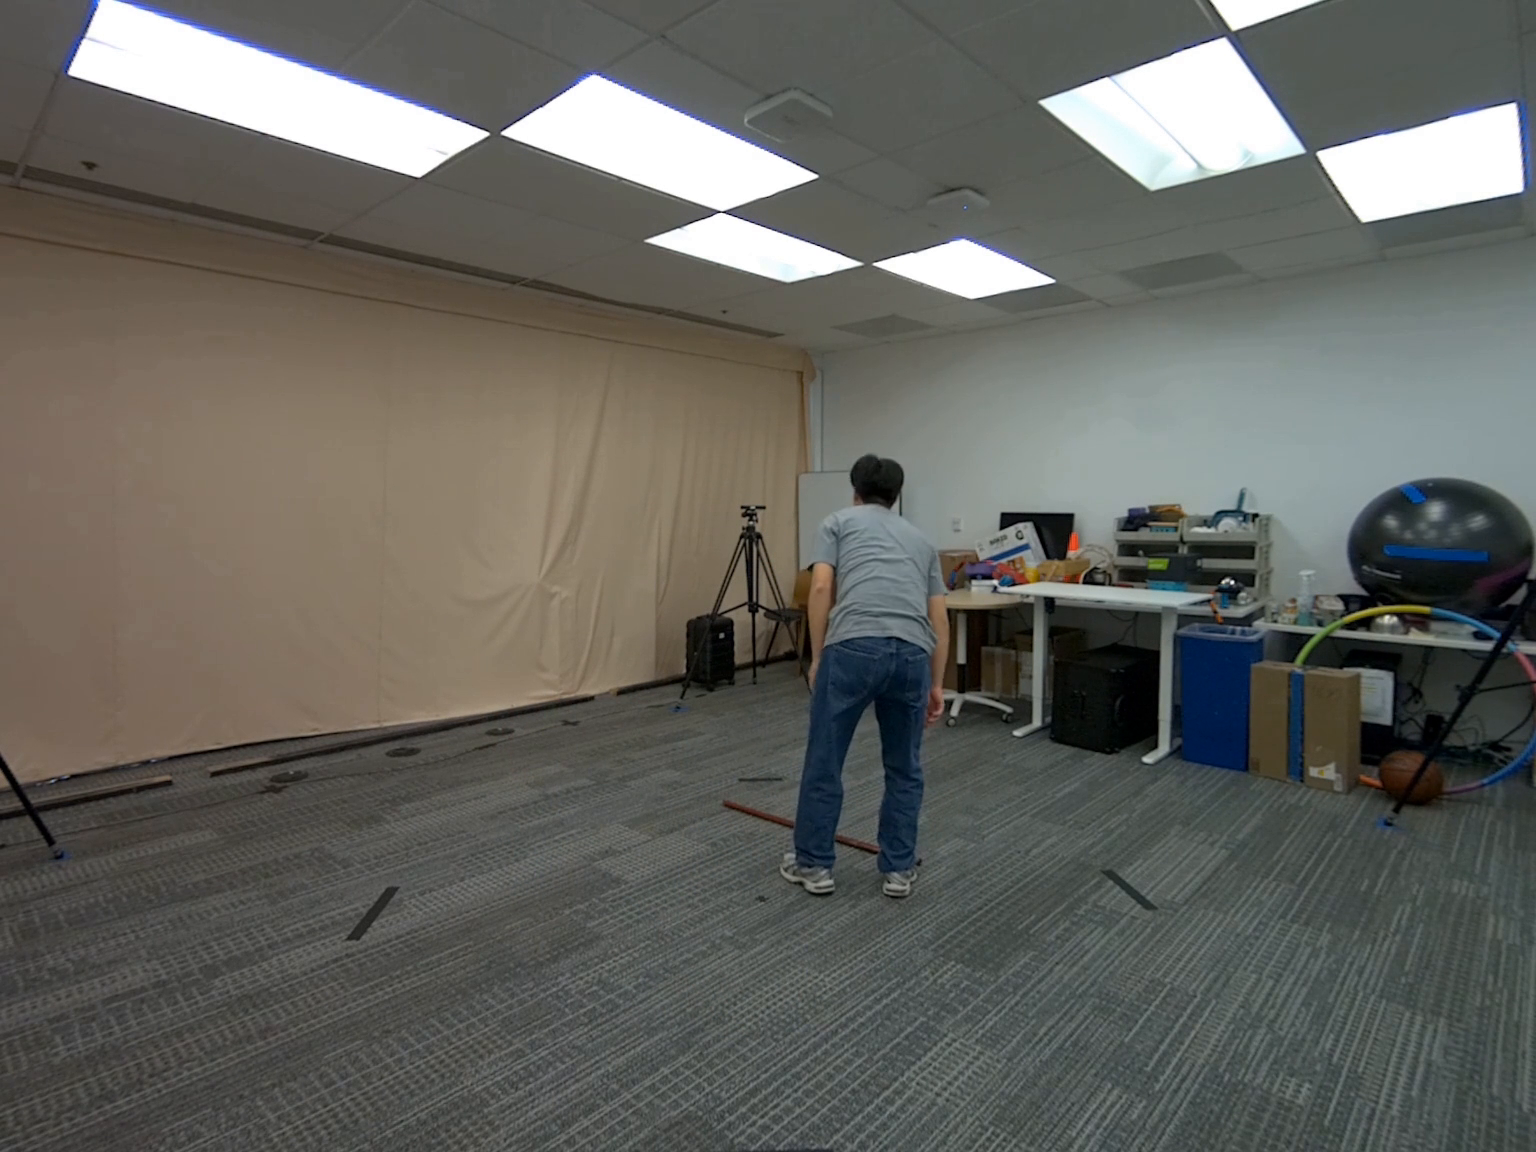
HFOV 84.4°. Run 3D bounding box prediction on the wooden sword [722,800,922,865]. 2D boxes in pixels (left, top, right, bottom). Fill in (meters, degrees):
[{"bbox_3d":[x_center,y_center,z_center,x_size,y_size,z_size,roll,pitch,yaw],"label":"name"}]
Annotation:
[{"bbox_3d":[0.182,1.075,3.585,1.059,0.024,0.049,4,-7,41],"label":"wooden sword"}]
